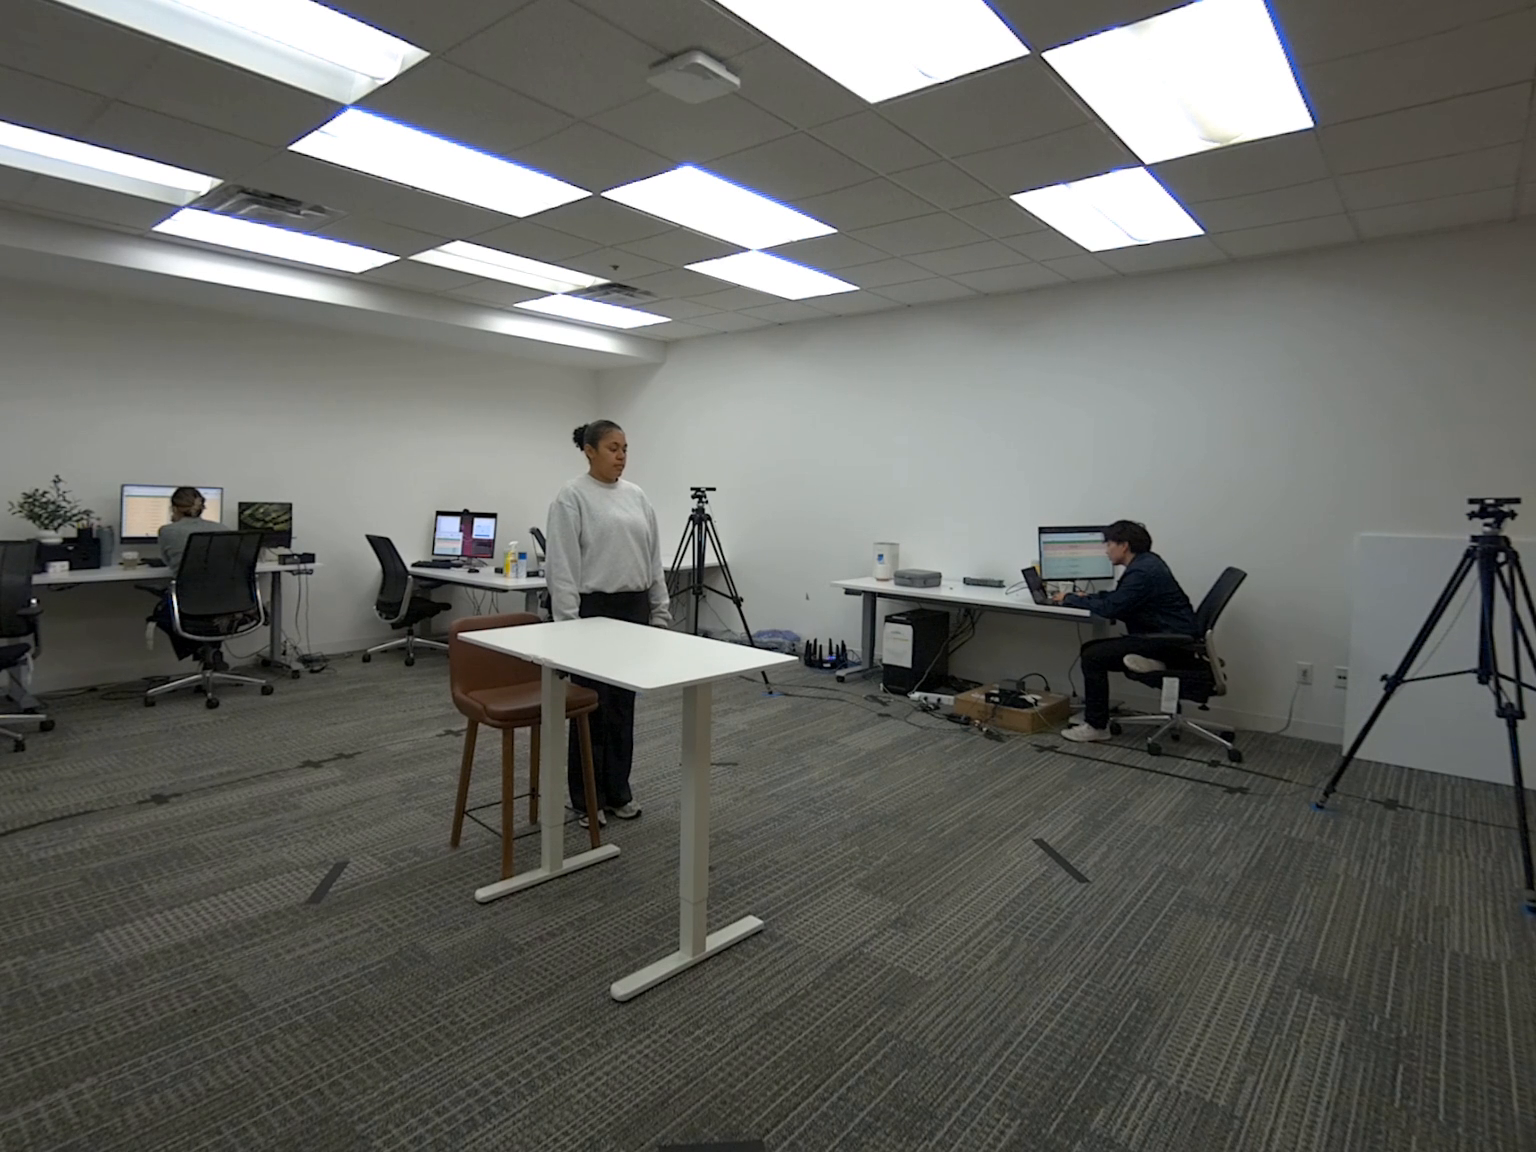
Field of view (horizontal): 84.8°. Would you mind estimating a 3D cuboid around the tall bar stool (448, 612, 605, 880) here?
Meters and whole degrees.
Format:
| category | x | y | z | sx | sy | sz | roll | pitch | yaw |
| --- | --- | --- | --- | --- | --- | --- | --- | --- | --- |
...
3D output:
| category | x | y | z | sx | sy | sz | roll | pitch | yaw |
| --- | --- | --- | --- | --- | --- | --- | --- | --- | --- |
| tall bar stool | -0.940 | 0.608 | 3.216 | 0.483 | 0.889 | 0.442 | 0 | 1 | 45 |
